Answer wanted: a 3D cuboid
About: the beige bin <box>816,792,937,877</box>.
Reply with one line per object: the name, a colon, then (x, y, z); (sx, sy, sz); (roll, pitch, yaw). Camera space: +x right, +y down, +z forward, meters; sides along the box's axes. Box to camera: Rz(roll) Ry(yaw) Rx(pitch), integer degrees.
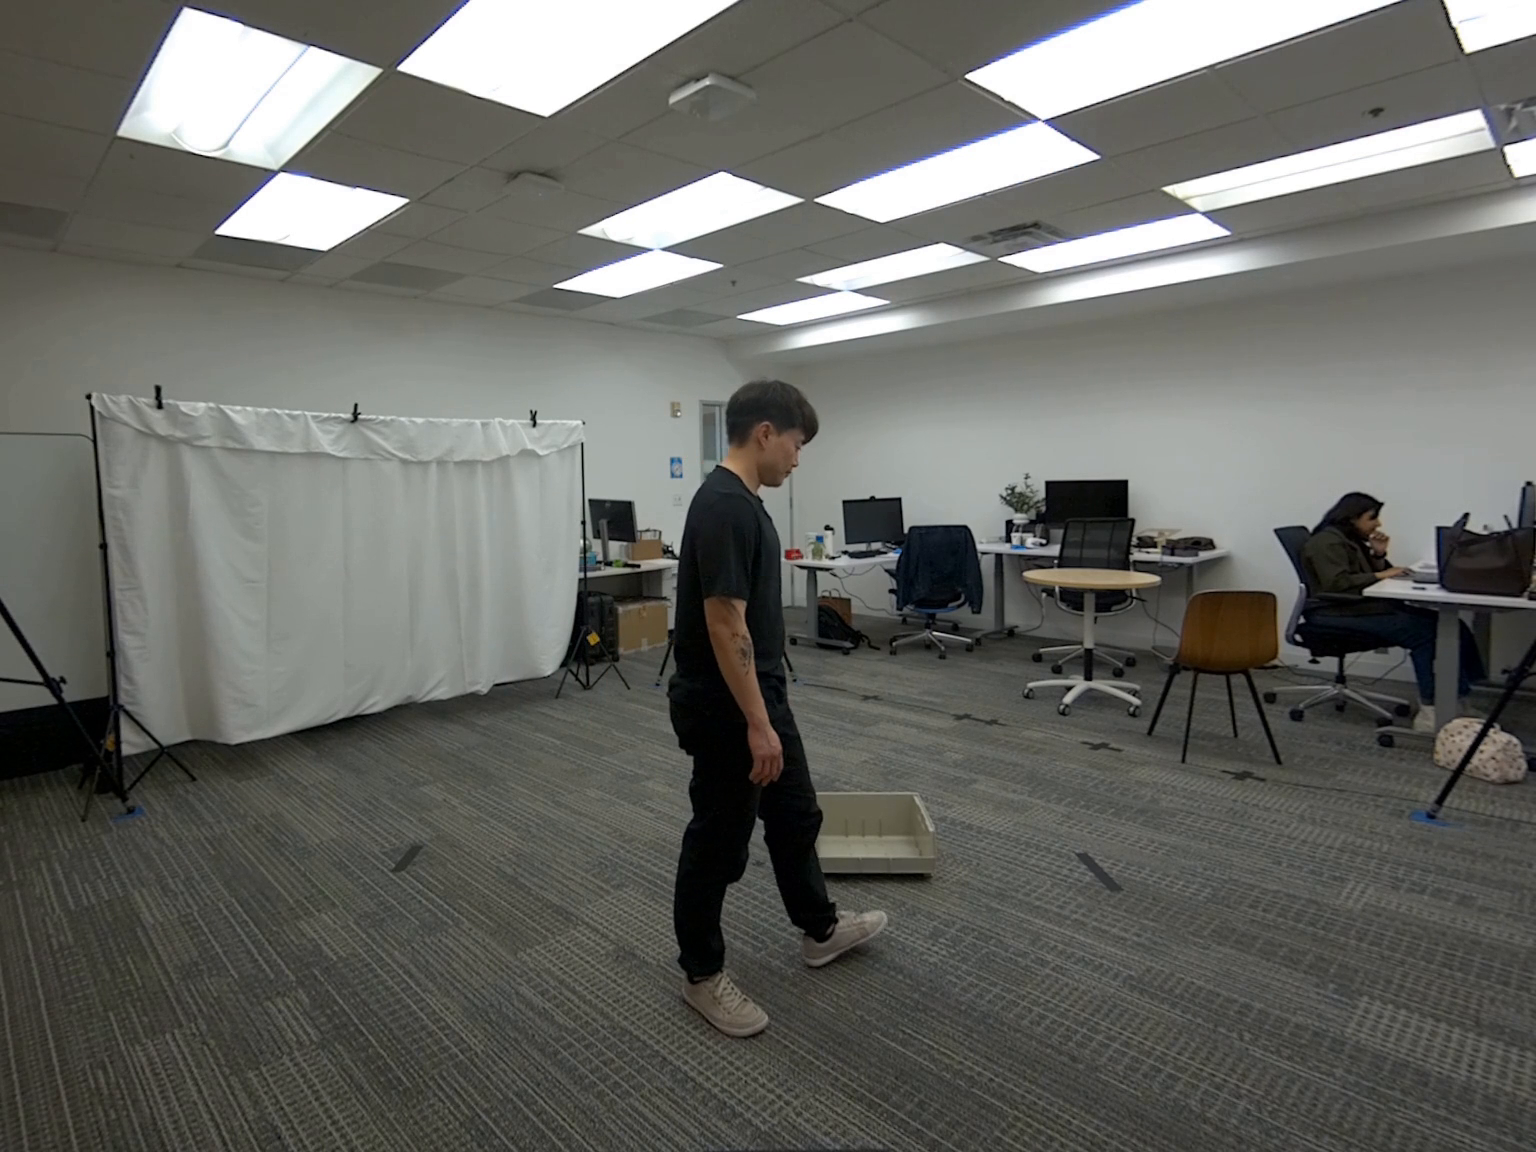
beige bin: (0.375, 0.951, 3.125); (0.423, 0.188, 0.378); (-2, 5, 2)
